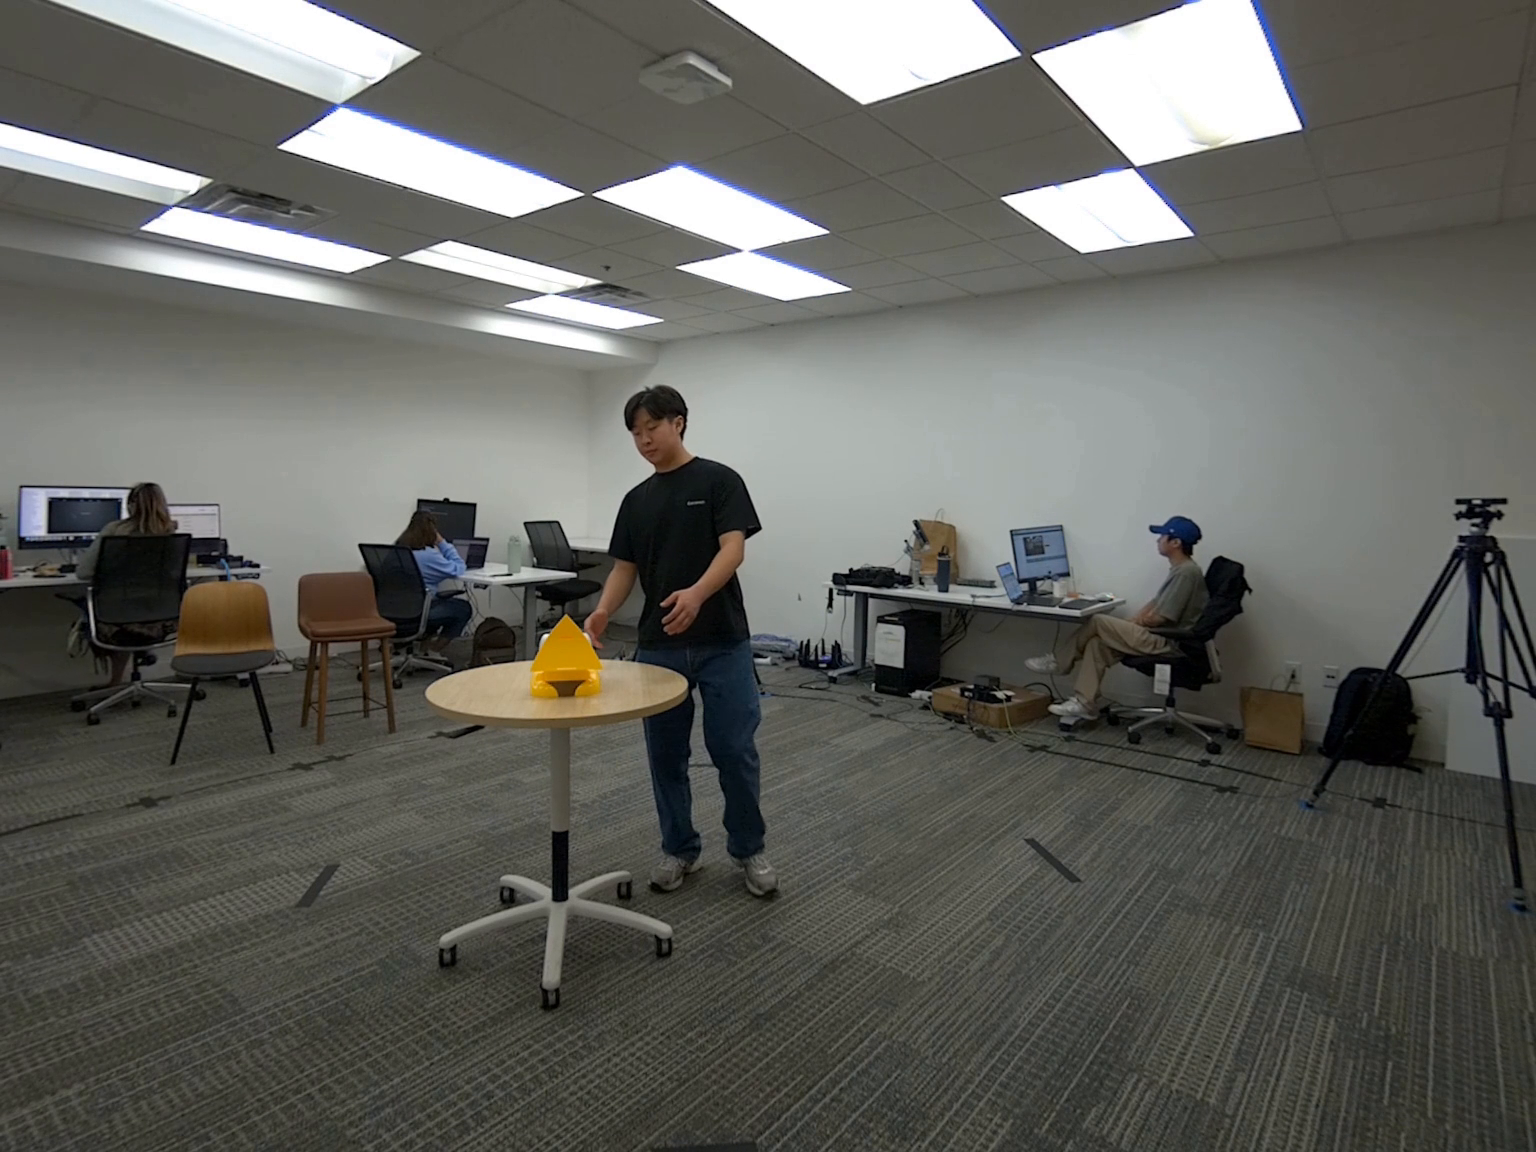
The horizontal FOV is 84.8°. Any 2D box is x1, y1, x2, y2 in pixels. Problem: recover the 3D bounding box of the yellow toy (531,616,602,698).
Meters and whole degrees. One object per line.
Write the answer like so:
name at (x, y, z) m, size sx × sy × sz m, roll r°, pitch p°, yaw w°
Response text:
yellow toy at (-0.592, 0.215, 2.456) m, size 0.202 × 0.230 × 0.196 m, roll 0°, pitch 5°, yaw -14°
